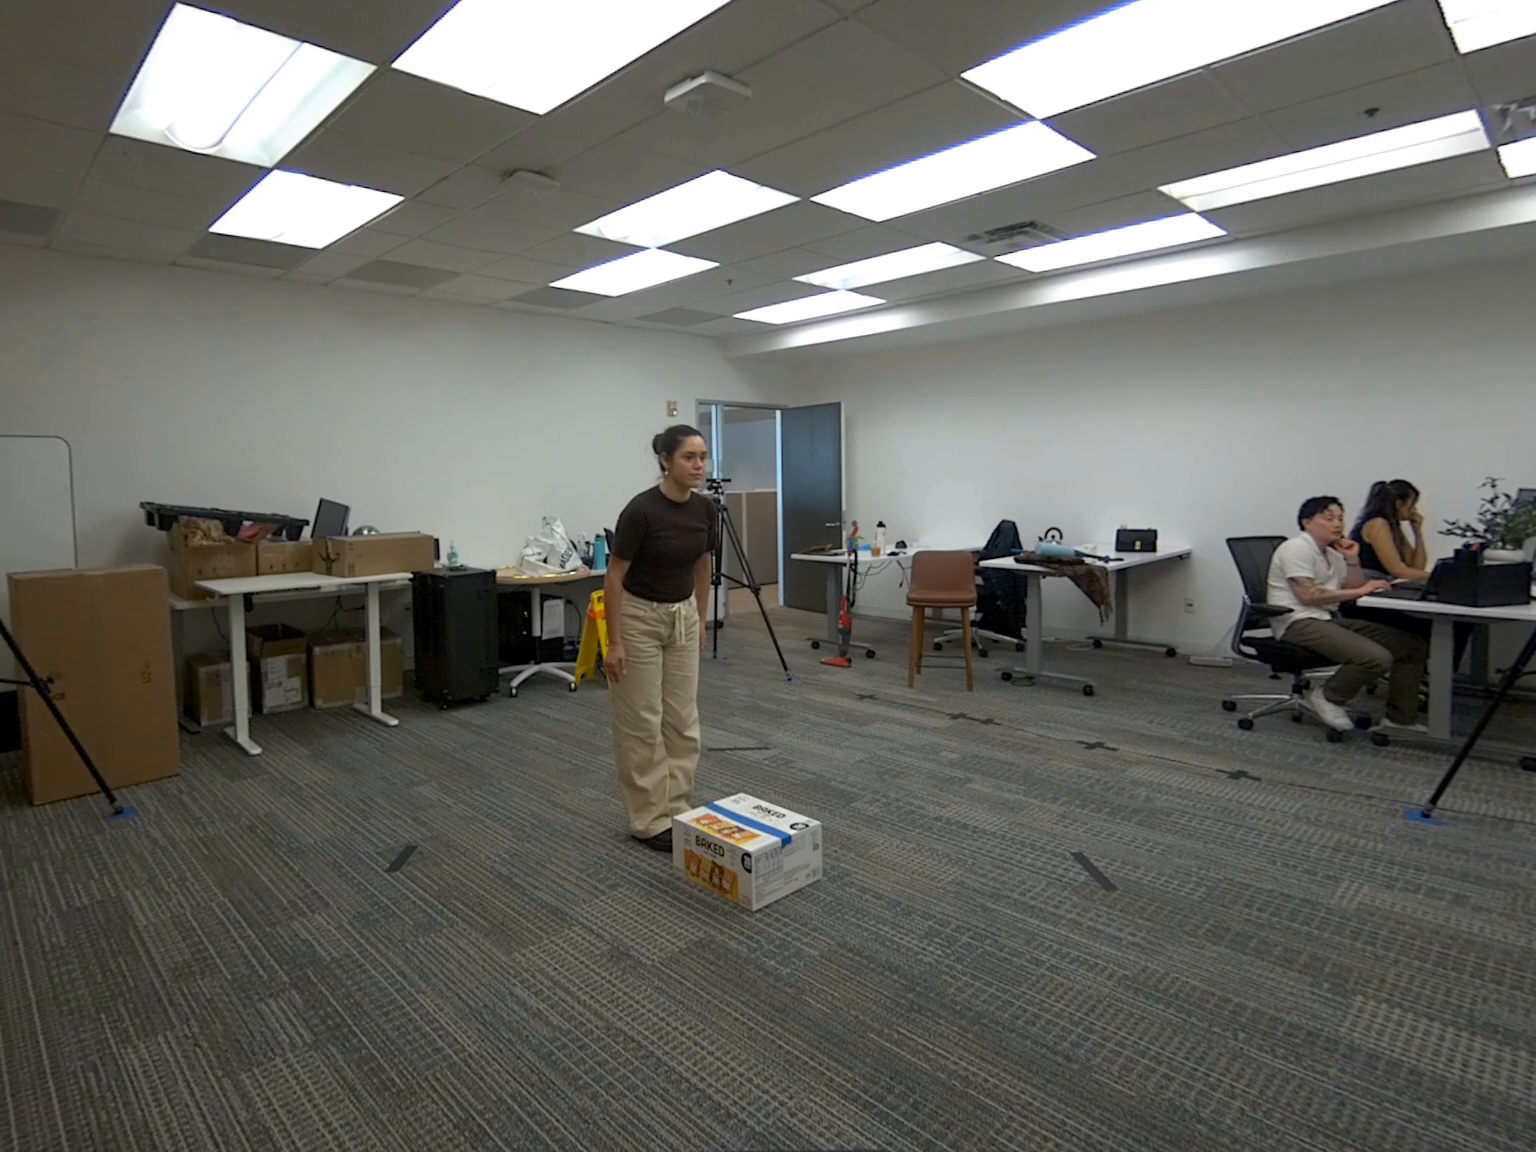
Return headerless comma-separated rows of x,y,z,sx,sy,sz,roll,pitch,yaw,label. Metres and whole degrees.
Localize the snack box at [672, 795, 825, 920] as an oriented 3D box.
-0.073,0.965,3.000,0.331,0.205,0.418,-7,8,-43,snack box
